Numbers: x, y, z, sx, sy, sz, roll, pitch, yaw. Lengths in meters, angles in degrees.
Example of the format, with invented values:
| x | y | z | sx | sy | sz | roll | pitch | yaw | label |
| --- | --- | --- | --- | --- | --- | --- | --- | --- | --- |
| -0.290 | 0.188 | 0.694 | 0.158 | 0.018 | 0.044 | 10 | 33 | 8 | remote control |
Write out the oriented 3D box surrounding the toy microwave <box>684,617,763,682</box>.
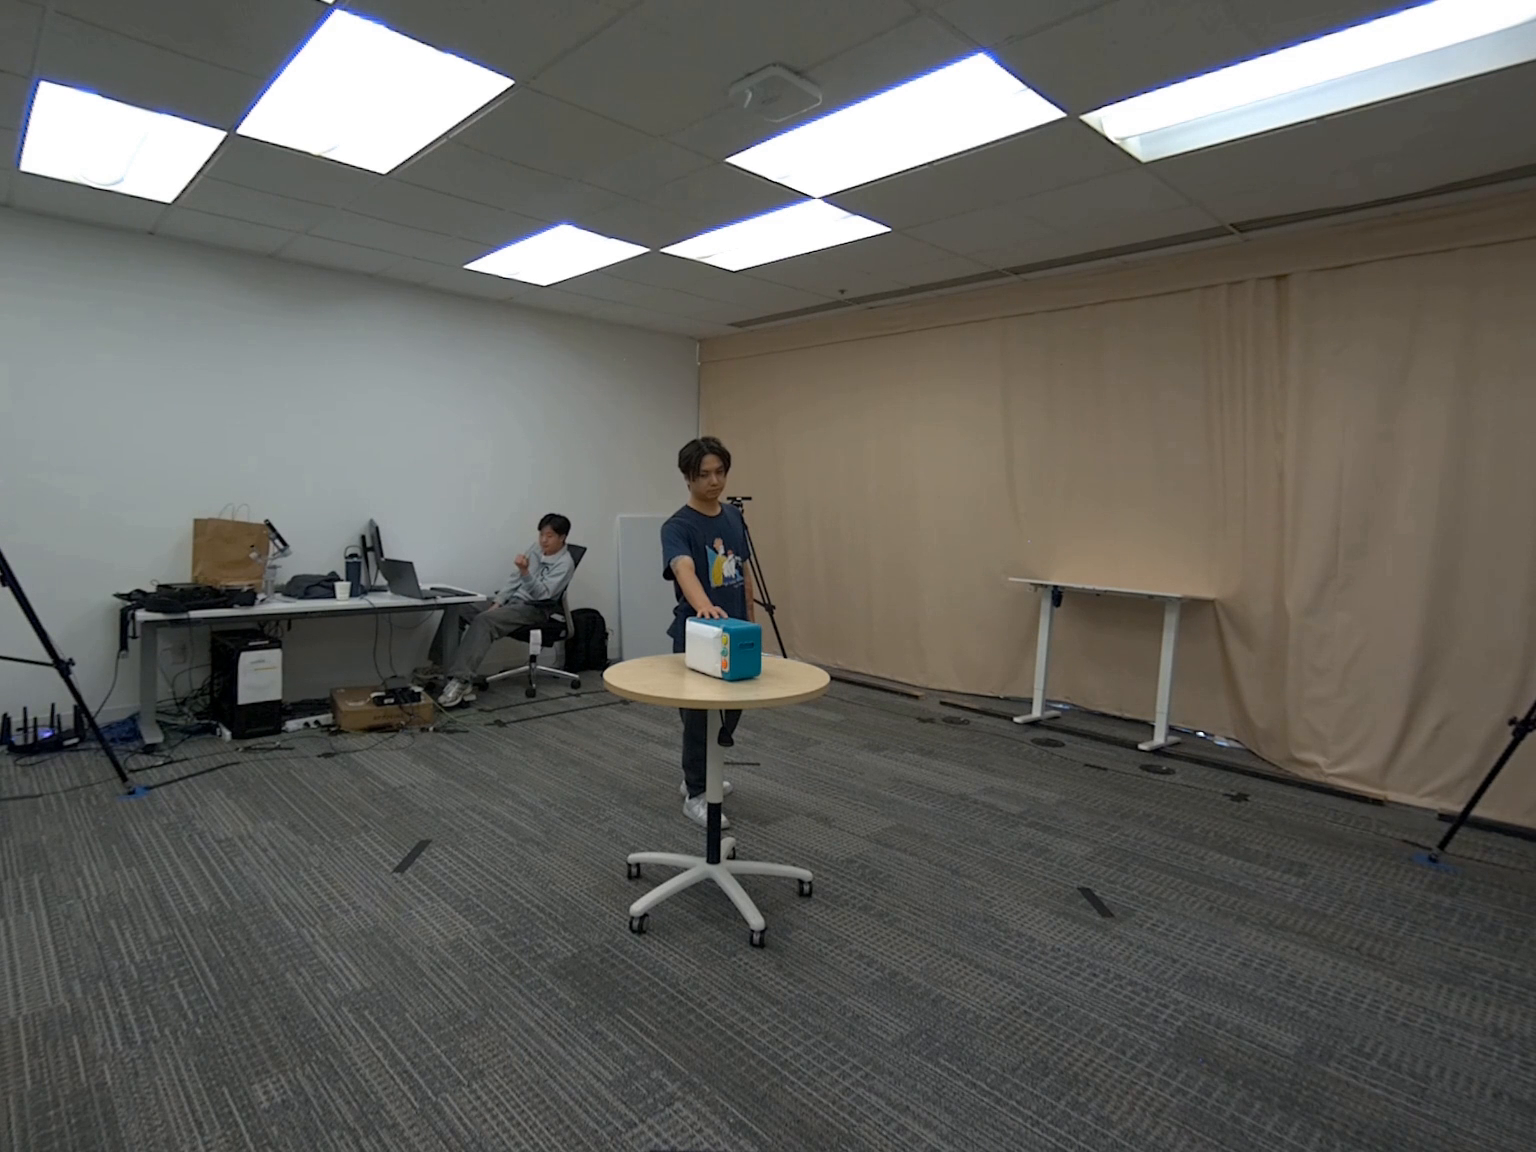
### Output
| x | y | z | sx | sy | sz | roll | pitch | yaw | label |
| --- | --- | --- | --- | --- | --- | --- | --- | --- | --- |
| -0.168 | 0.243 | 2.843 | 0.149 | 0.184 | 0.293 | -2 | 5 | -36 | toy microwave |
